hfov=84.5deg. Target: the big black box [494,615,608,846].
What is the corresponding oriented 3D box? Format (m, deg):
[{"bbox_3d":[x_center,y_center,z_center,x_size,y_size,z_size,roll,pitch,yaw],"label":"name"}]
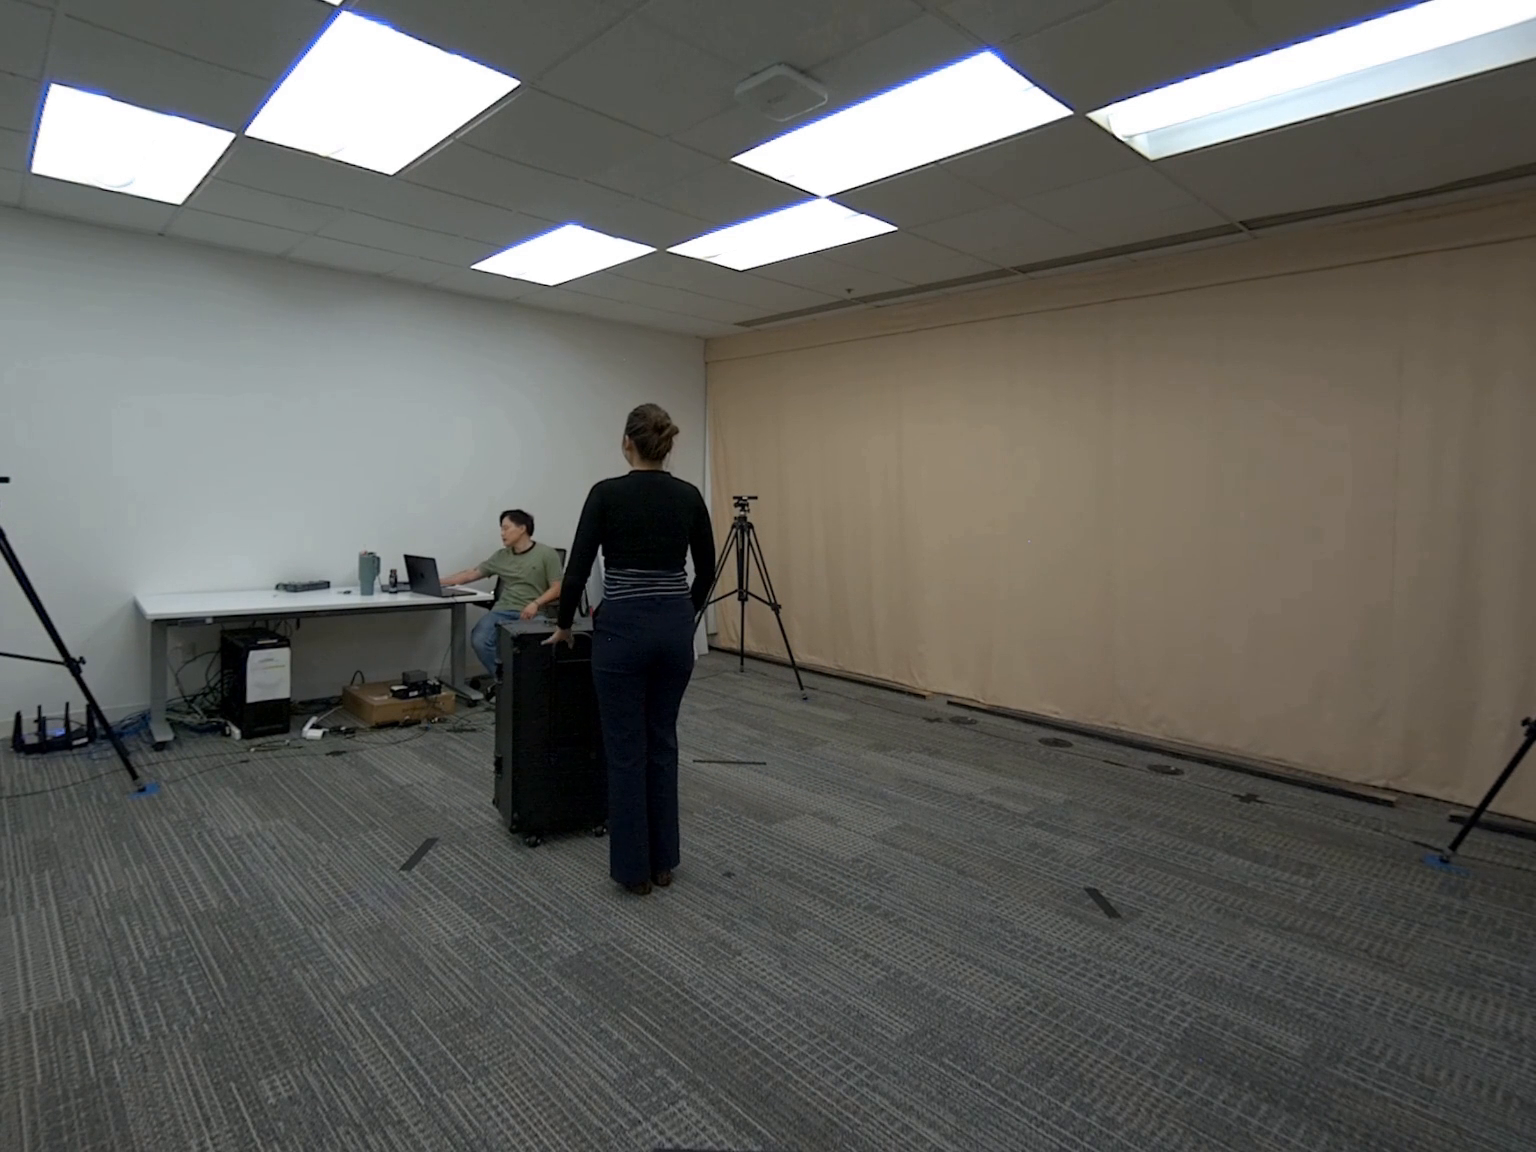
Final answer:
[{"bbox_3d":[-0.861,0.626,3.494,0.511,0.859,0.405,0,4,-28],"label":"big black box"}]
